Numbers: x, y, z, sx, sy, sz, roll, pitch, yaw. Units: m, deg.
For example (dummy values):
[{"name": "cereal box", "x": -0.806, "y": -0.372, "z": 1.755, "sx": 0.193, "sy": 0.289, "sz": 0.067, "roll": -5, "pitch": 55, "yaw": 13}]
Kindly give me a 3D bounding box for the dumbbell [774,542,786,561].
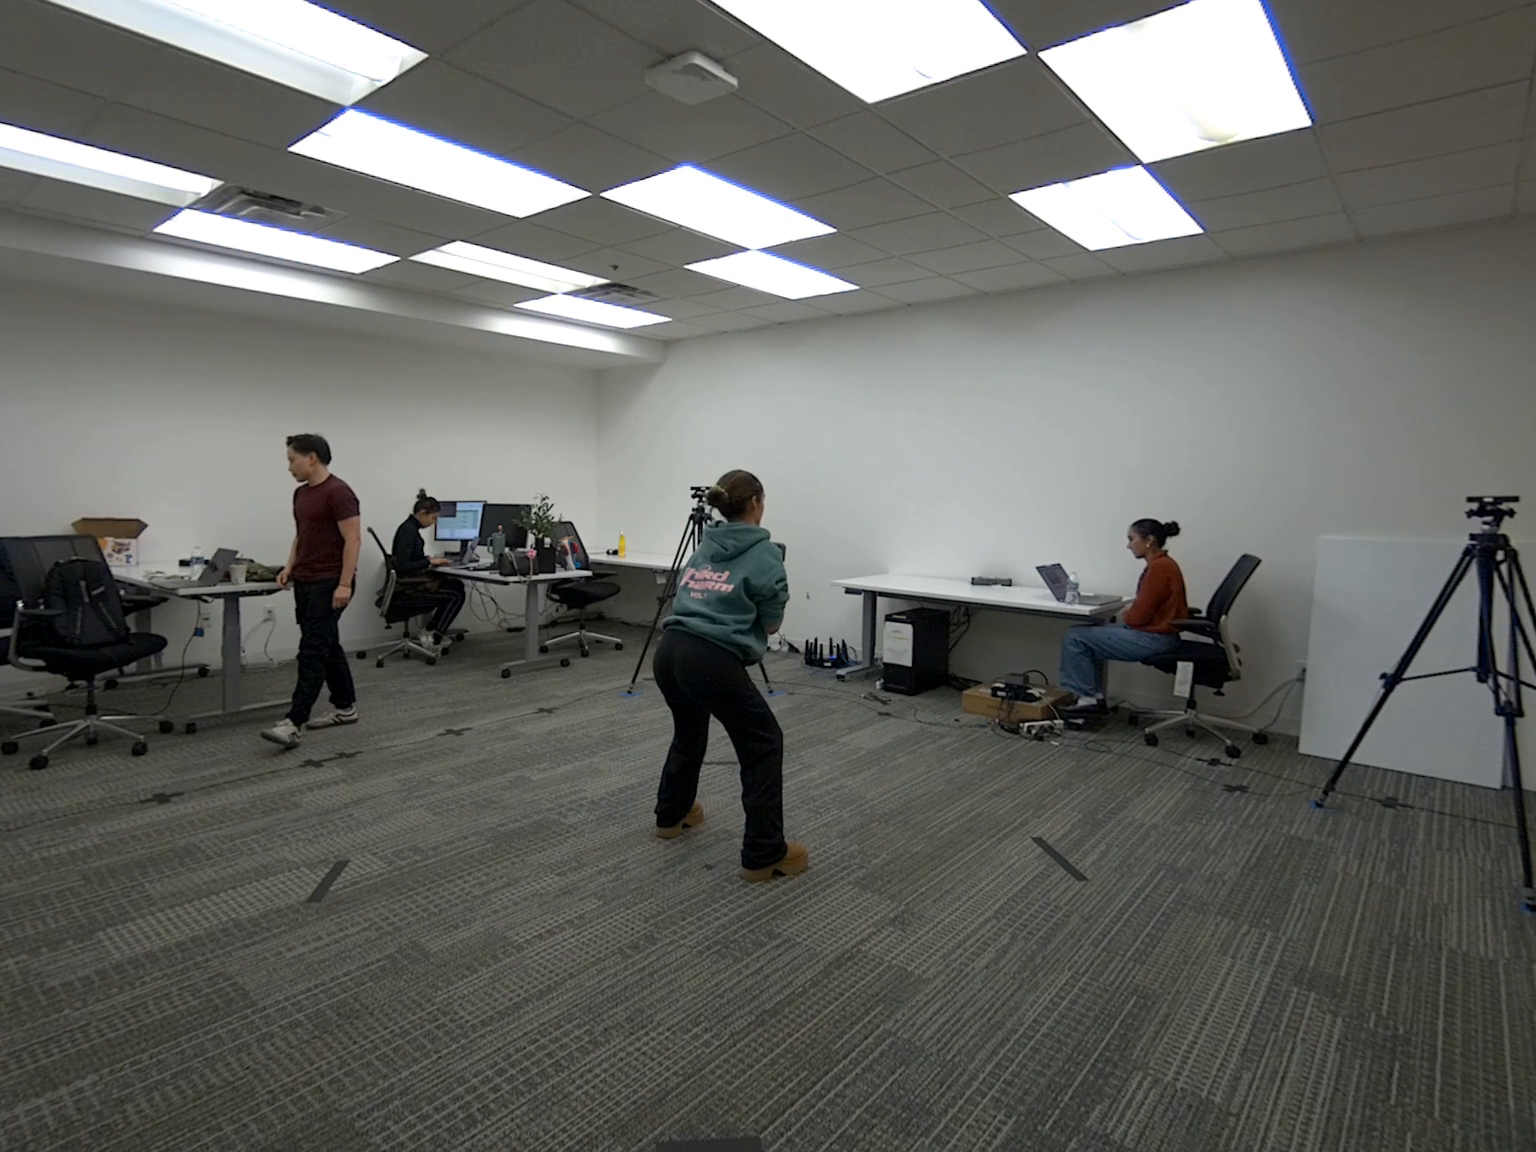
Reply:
[{"name": "dumbbell", "x": -0.014, "y": 0.014, "z": 3.388, "sx": 0.121, "sy": 0.293, "sz": 0.110, "roll": 8, "pitch": 0, "yaw": -11}]
